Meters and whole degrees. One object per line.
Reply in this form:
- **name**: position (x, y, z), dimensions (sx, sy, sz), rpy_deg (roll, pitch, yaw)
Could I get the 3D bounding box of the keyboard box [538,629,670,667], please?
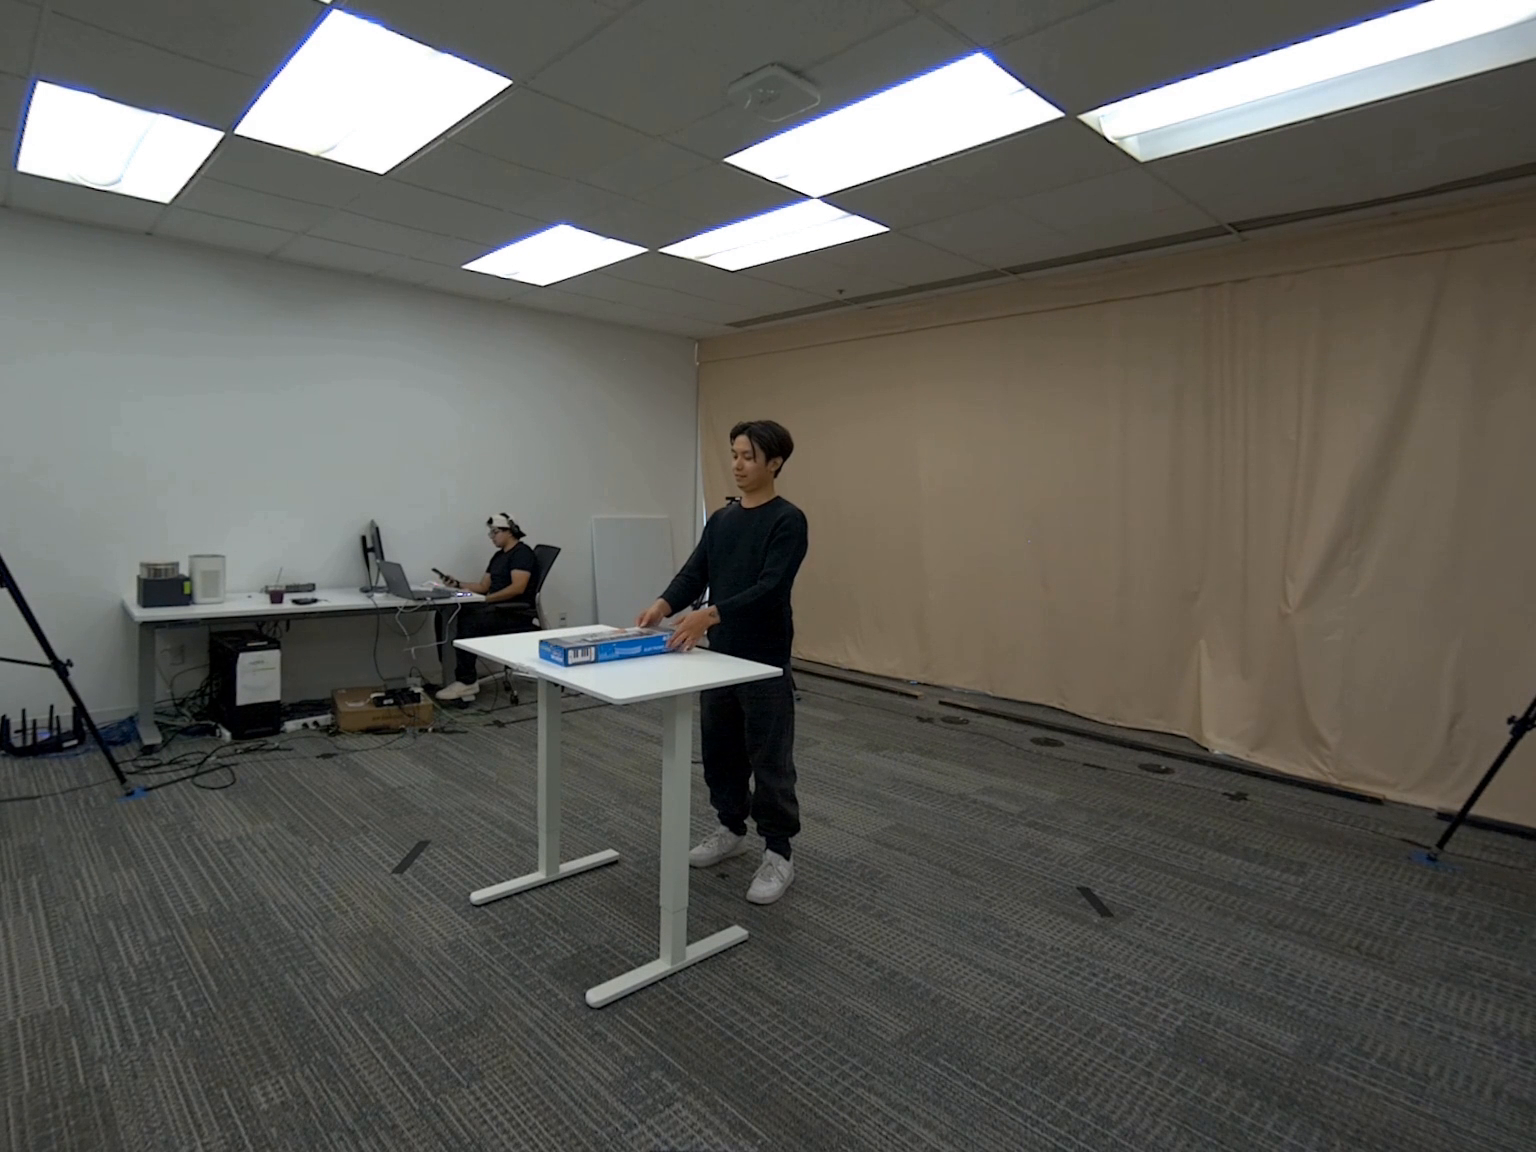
- **keyboard box**: position (-0.504, 0.222, 2.688), dimensions (0.427, 0.059, 0.180), rpy_deg (-4, 7, -39)
